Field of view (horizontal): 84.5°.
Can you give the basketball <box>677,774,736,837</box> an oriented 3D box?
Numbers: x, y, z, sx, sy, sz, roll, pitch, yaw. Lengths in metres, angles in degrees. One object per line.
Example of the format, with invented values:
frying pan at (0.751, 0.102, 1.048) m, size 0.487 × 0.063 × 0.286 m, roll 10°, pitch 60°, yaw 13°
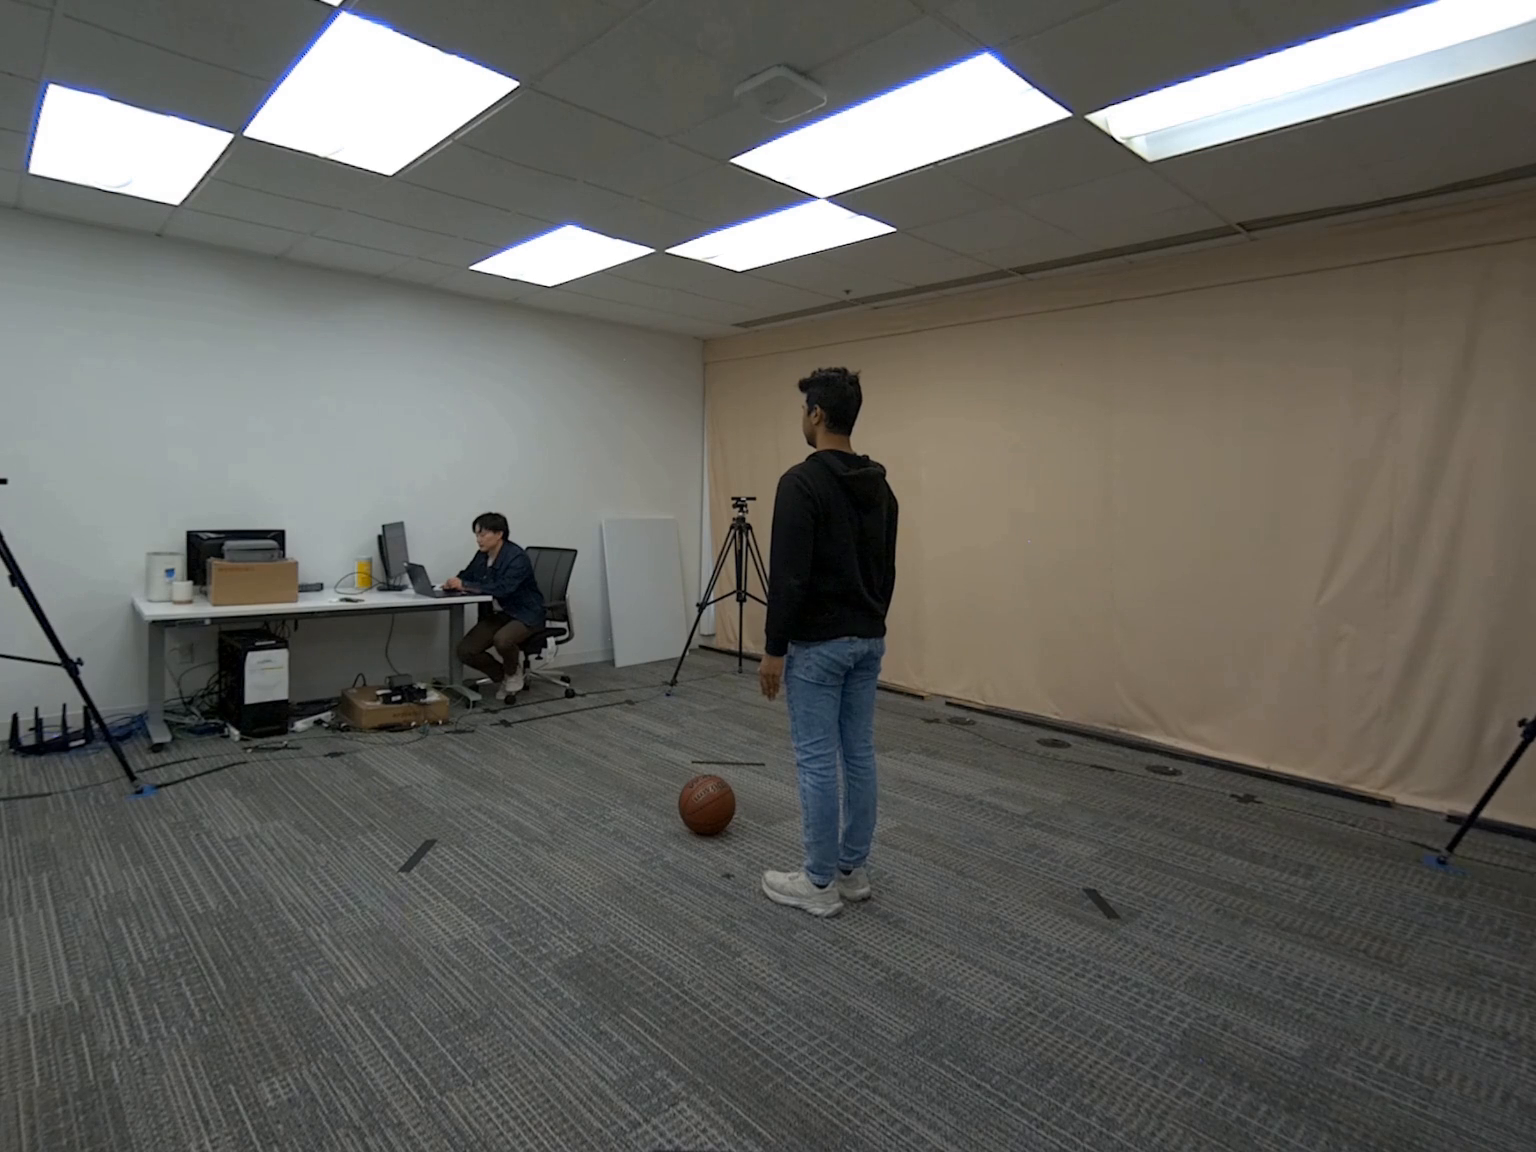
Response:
basketball at (-0.256, 0.947, 3.498) m, size 0.236 × 0.235 × 0.237 m, roll 1°, pitch 4°, yaw -1°
